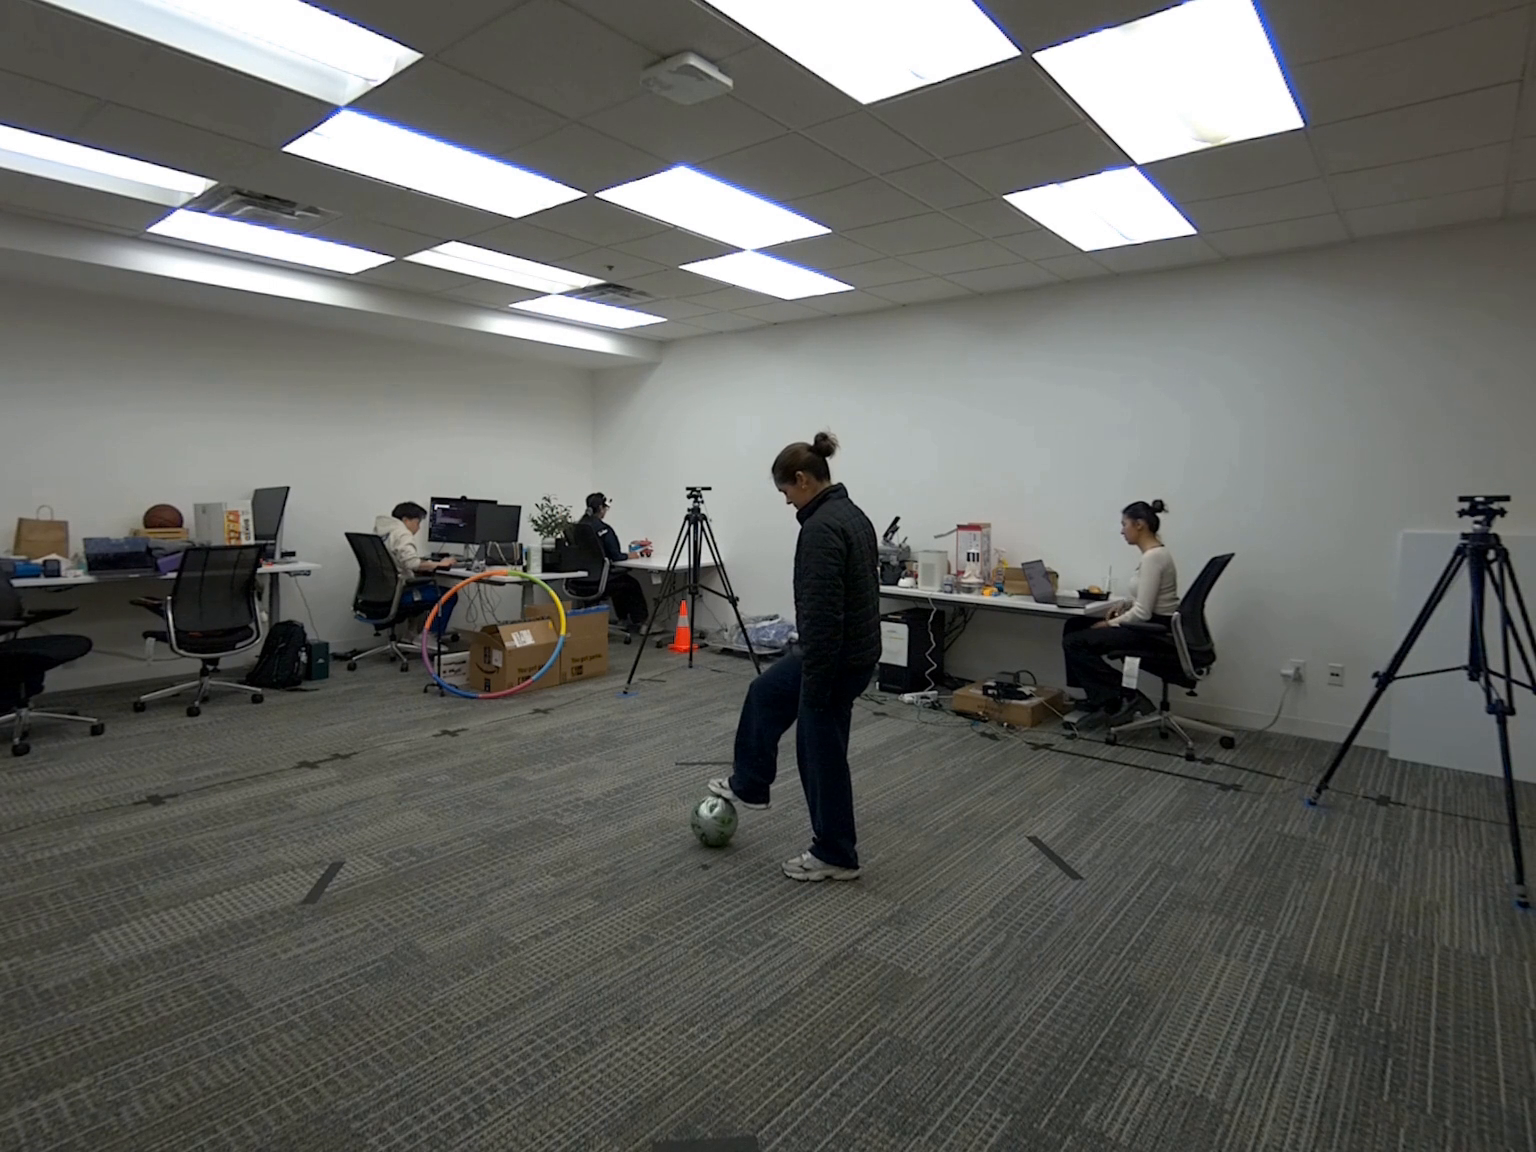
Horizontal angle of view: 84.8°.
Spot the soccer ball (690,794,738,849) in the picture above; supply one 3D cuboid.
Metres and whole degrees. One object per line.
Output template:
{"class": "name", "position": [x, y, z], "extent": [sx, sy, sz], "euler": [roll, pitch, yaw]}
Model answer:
{"class": "soccer ball", "position": [-0.213, 0.952, 3.317], "extent": [0.187, 0.187, 0.188], "euler": [1, 4, -2]}
